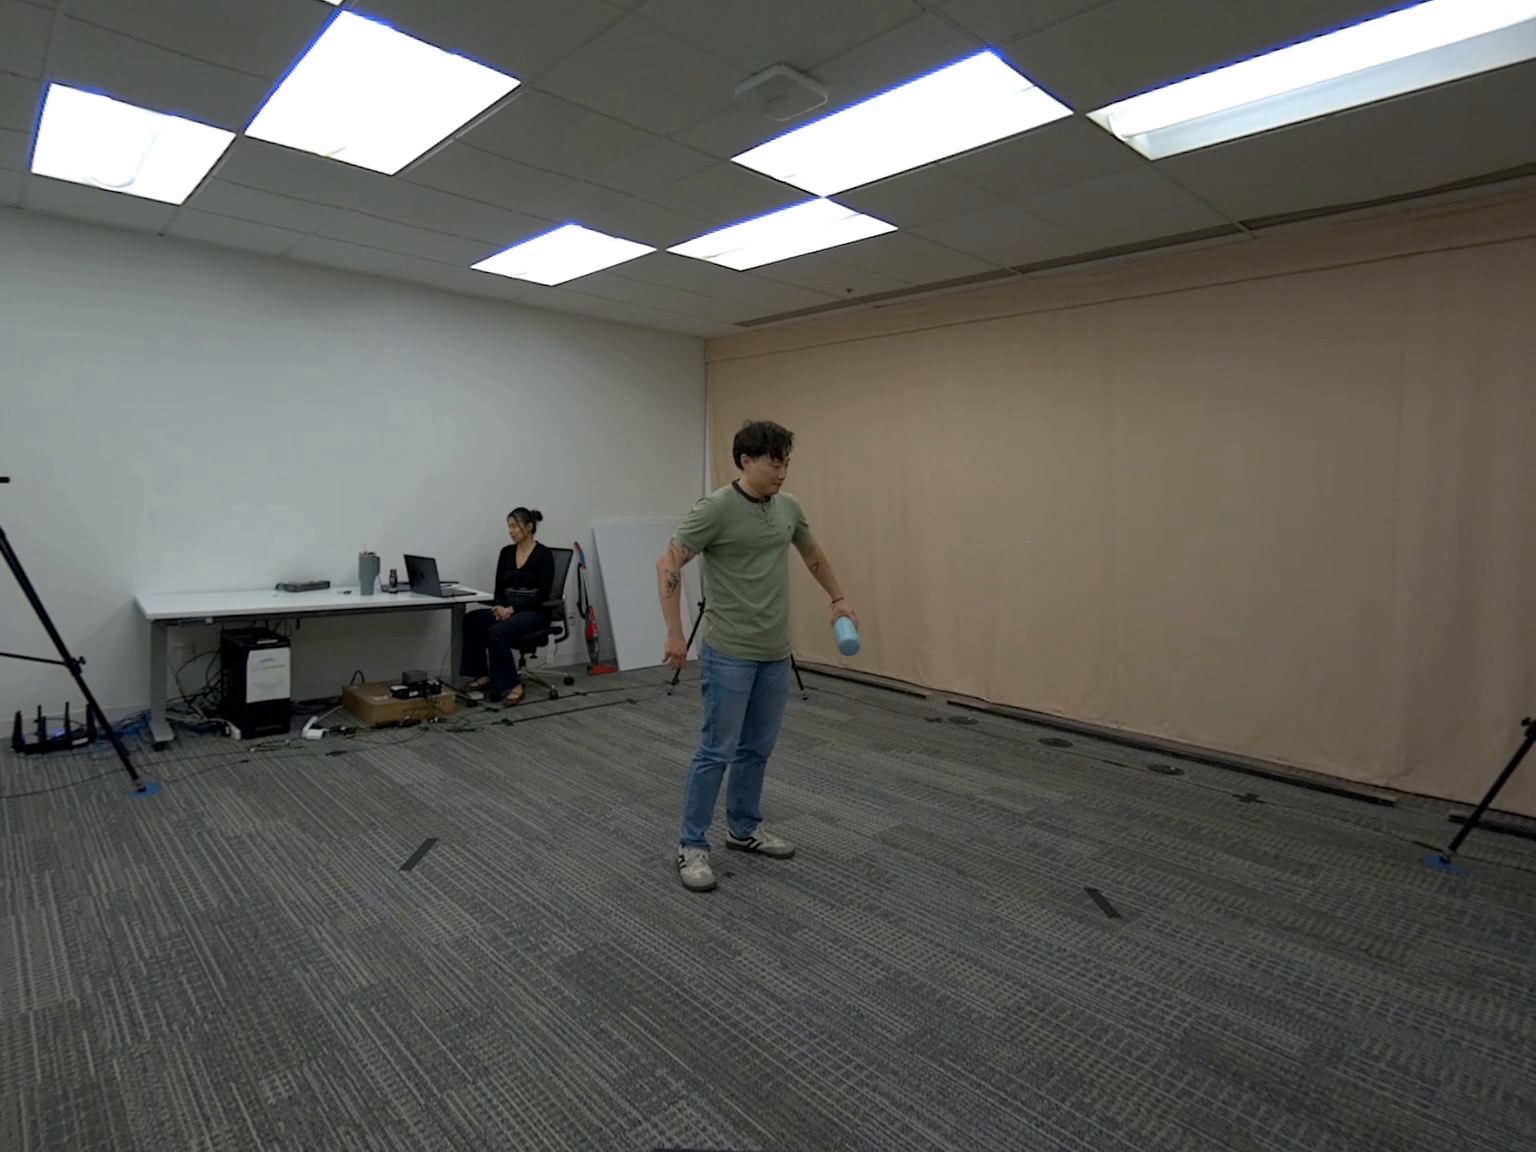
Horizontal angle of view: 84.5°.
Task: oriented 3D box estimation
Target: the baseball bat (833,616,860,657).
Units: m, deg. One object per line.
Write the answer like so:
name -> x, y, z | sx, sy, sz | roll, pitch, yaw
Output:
baseball bat -> 0.291, 0.174, 3.534 | 0.089, 0.088, 0.551 | 1, 22, -3
